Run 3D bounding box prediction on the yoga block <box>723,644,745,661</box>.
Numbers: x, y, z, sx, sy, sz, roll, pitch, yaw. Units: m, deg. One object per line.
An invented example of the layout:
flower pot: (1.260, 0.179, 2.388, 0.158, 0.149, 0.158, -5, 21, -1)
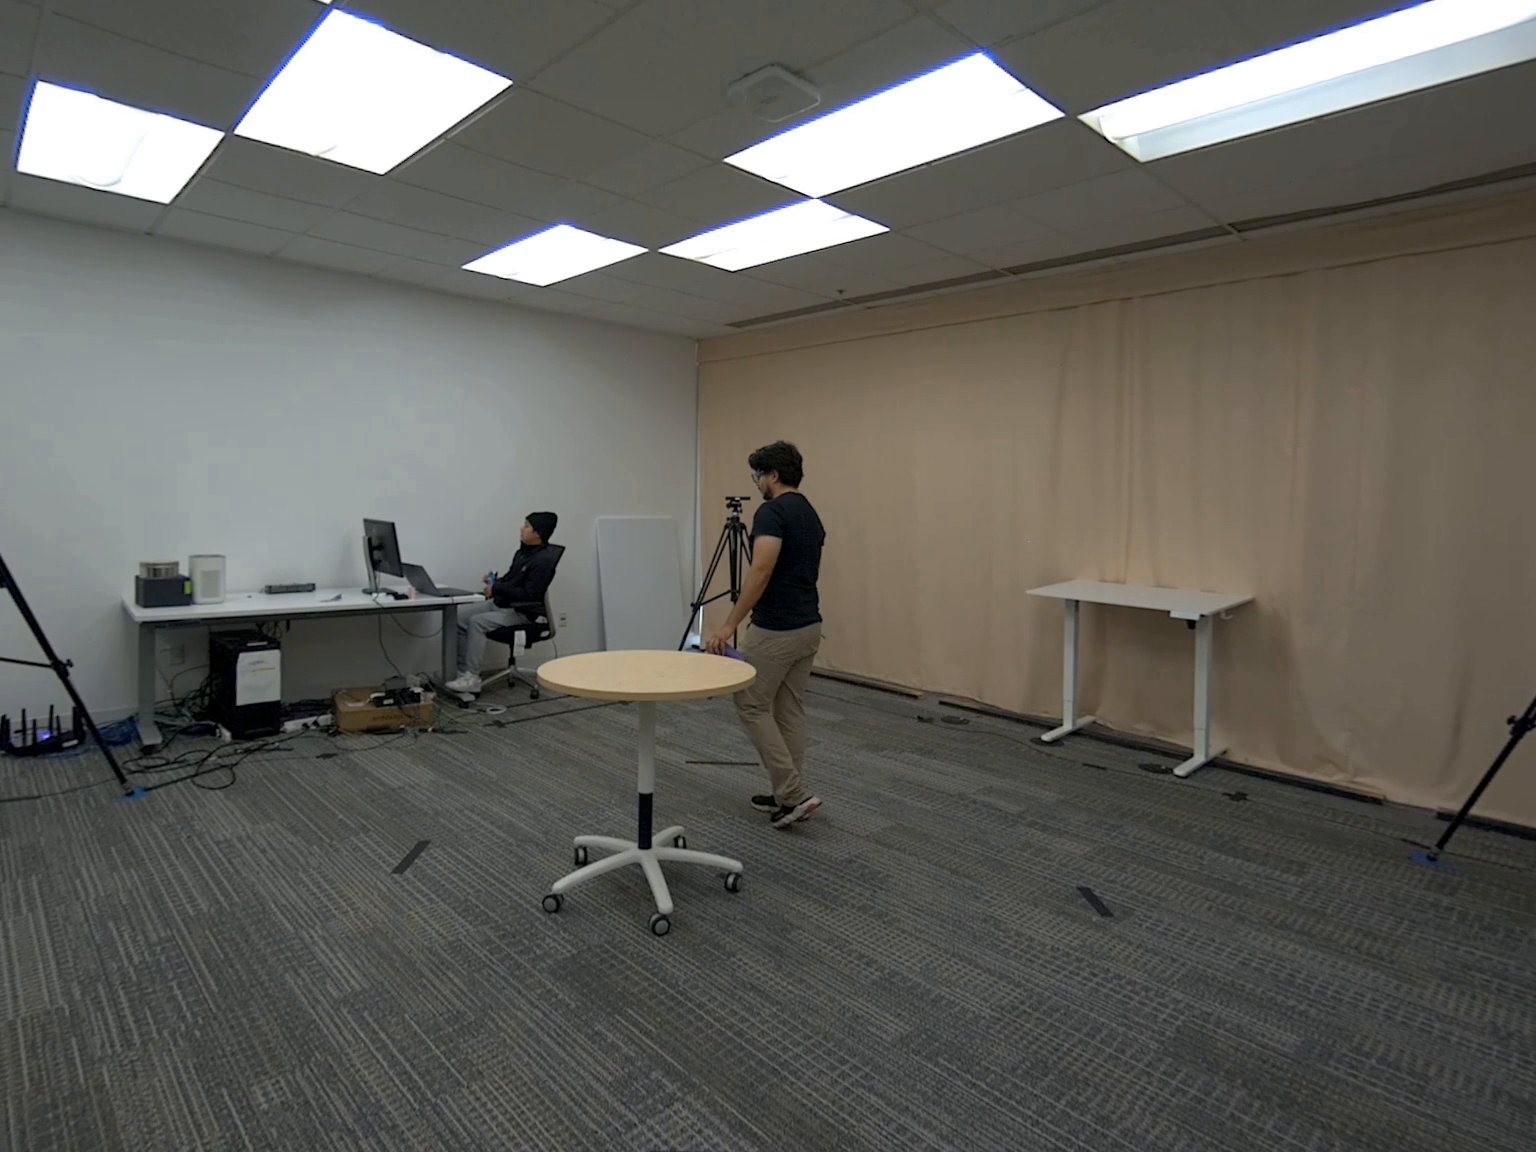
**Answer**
yoga block: (-0.231, 0.397, 3.534, 0.147, 0.229, 0.077, 39, 18, -9)
